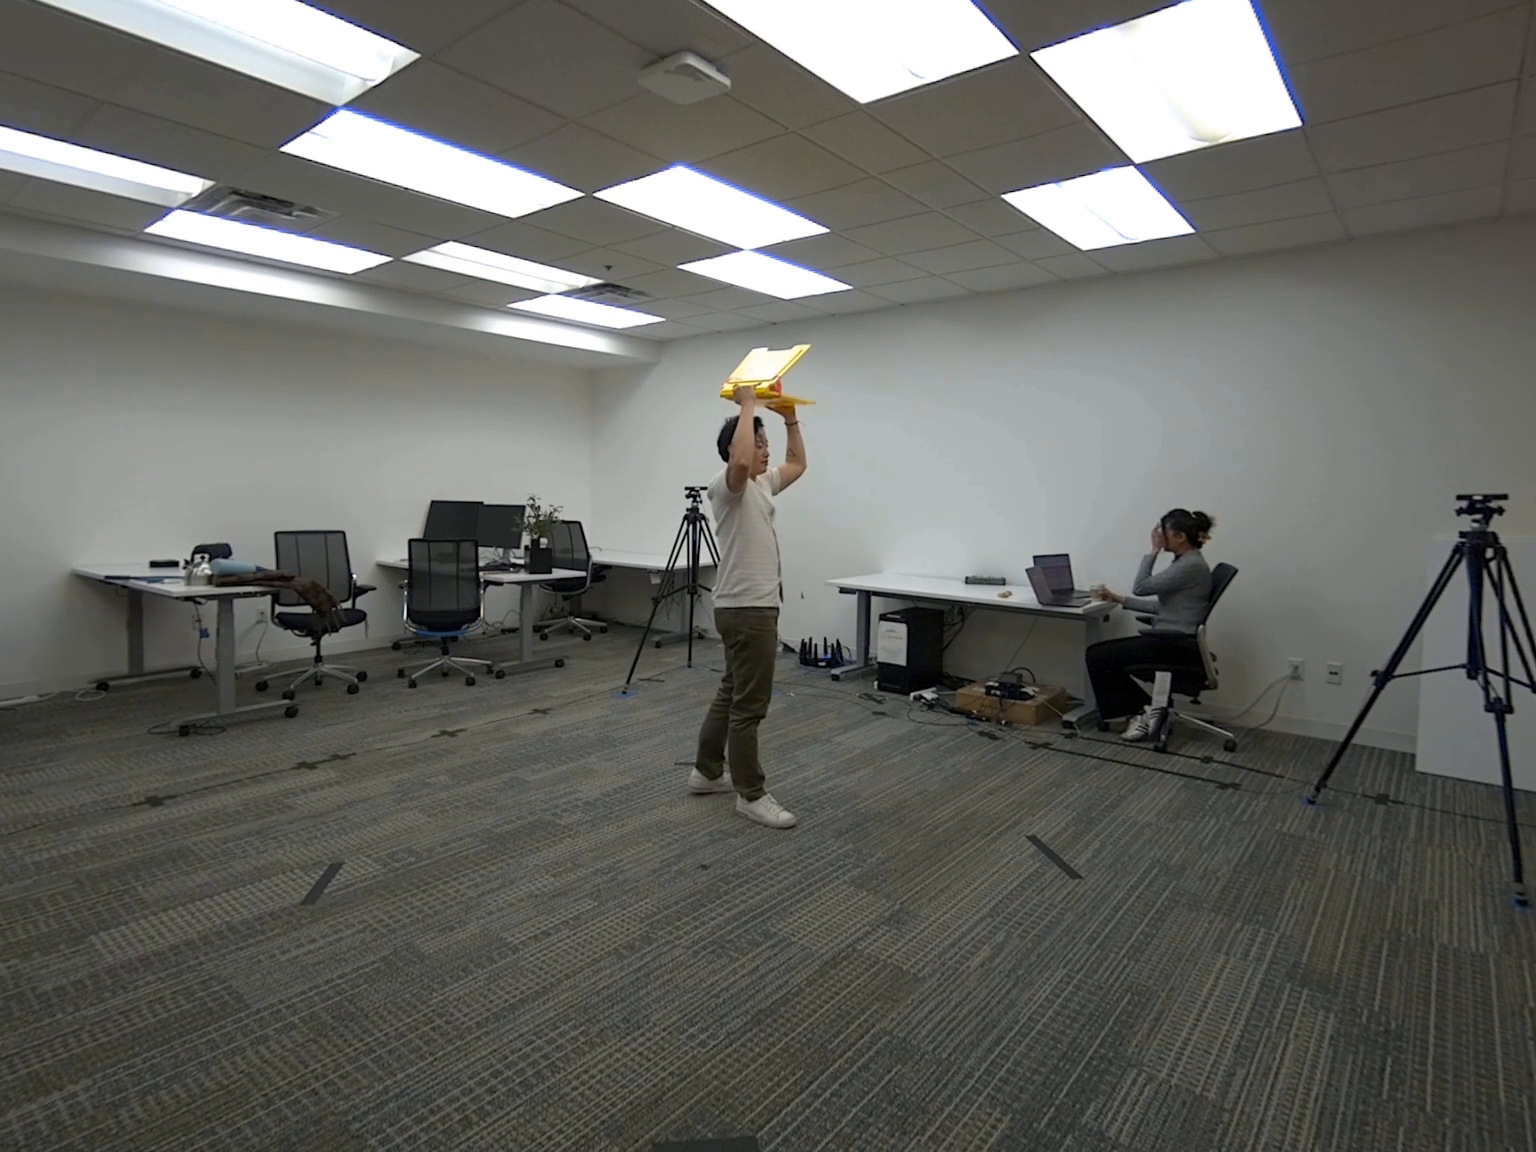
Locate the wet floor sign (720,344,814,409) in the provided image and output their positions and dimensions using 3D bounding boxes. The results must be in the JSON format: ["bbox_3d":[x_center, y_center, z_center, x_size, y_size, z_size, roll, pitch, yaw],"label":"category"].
[{"bbox_3d":[-0.024,-0.832,3.677,0.288,0.285,0.644,0,18,18],"label":"wet floor sign"}]
